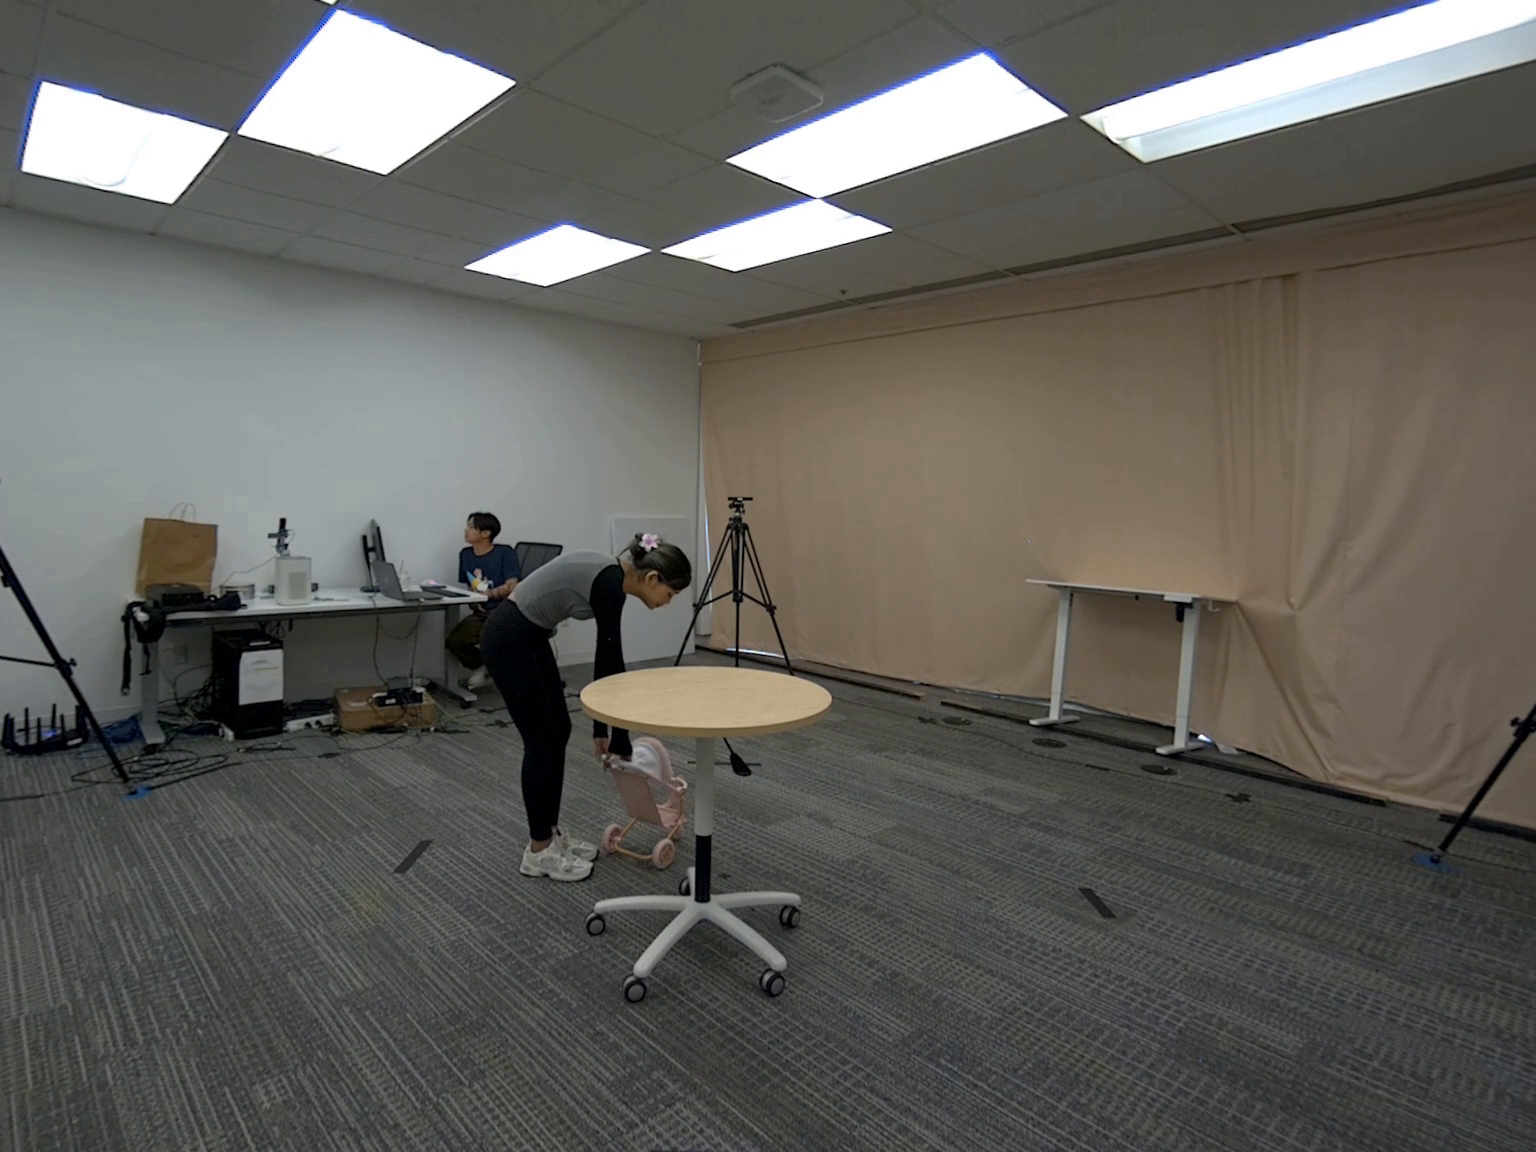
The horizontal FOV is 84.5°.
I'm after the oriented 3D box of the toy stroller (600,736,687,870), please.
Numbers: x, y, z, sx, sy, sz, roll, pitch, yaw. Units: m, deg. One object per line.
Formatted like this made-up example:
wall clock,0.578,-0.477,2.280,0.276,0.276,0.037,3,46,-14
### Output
toy stroller,-0.466,0.860,3.266,0.288,0.528,0.337,5,19,35
